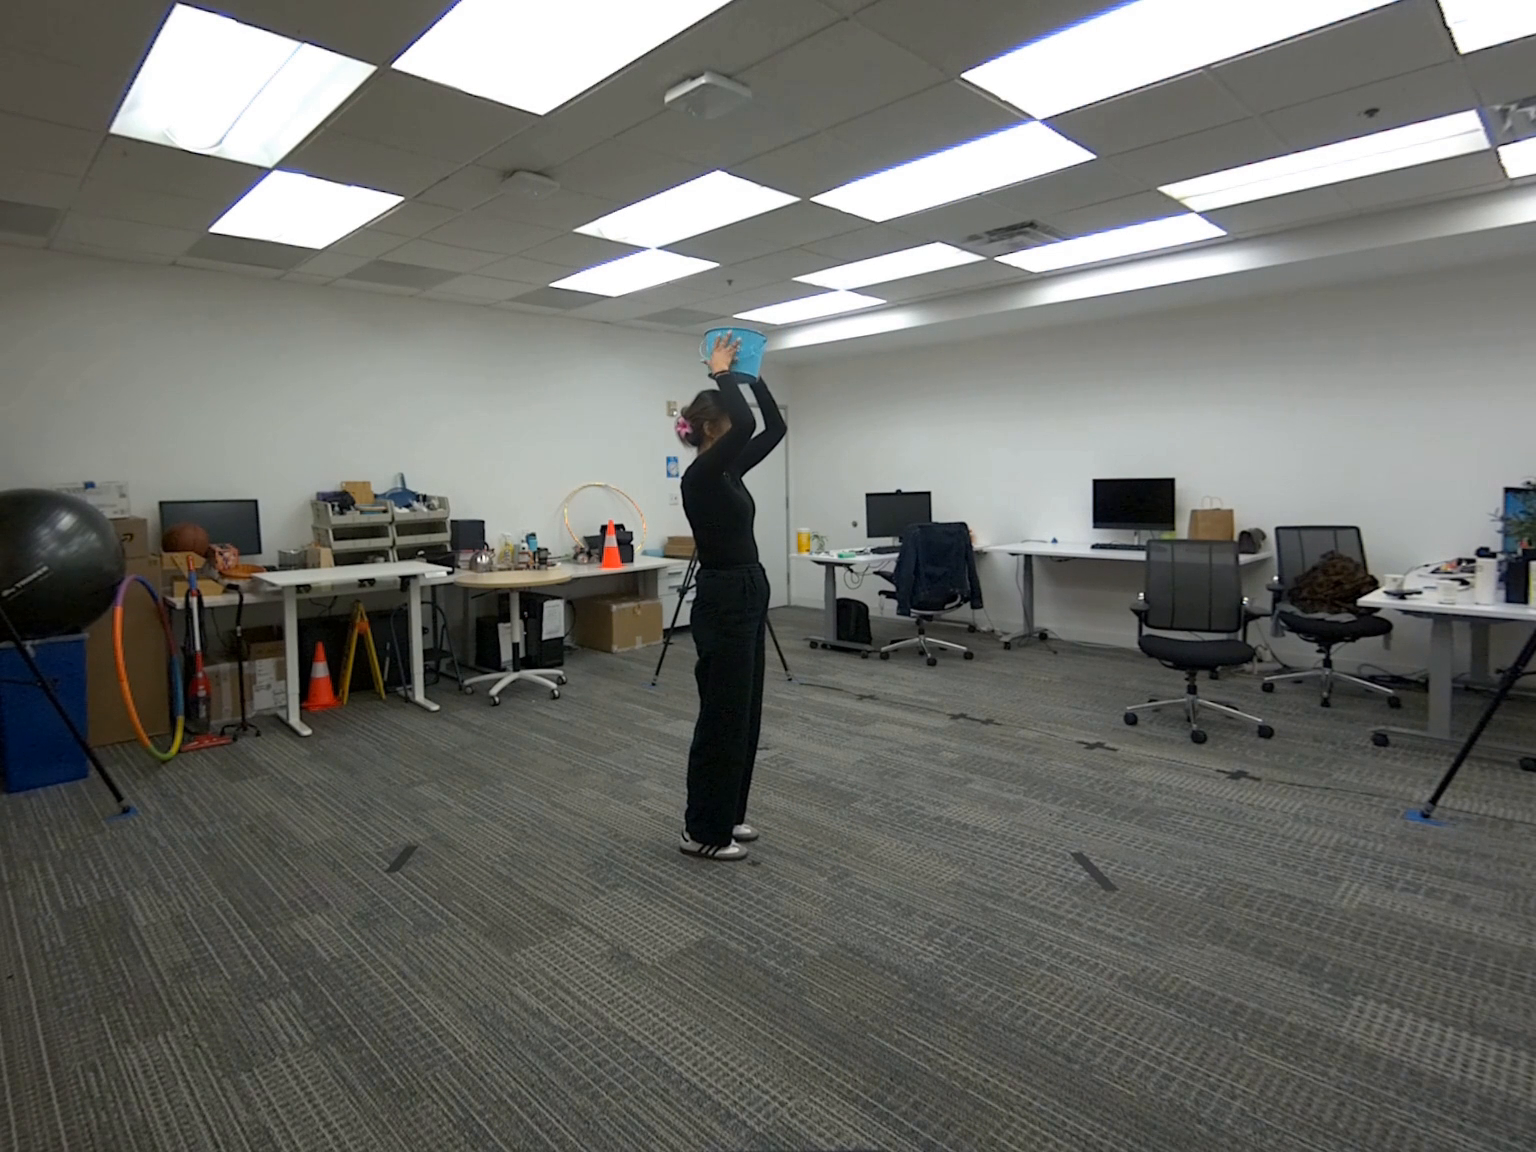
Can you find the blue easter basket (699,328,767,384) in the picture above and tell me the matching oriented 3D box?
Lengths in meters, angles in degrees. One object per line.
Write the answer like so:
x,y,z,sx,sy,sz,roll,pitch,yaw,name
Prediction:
-0.129,-0.798,3.104,0.243,0.156,0.243,7,0,-2,blue easter basket
